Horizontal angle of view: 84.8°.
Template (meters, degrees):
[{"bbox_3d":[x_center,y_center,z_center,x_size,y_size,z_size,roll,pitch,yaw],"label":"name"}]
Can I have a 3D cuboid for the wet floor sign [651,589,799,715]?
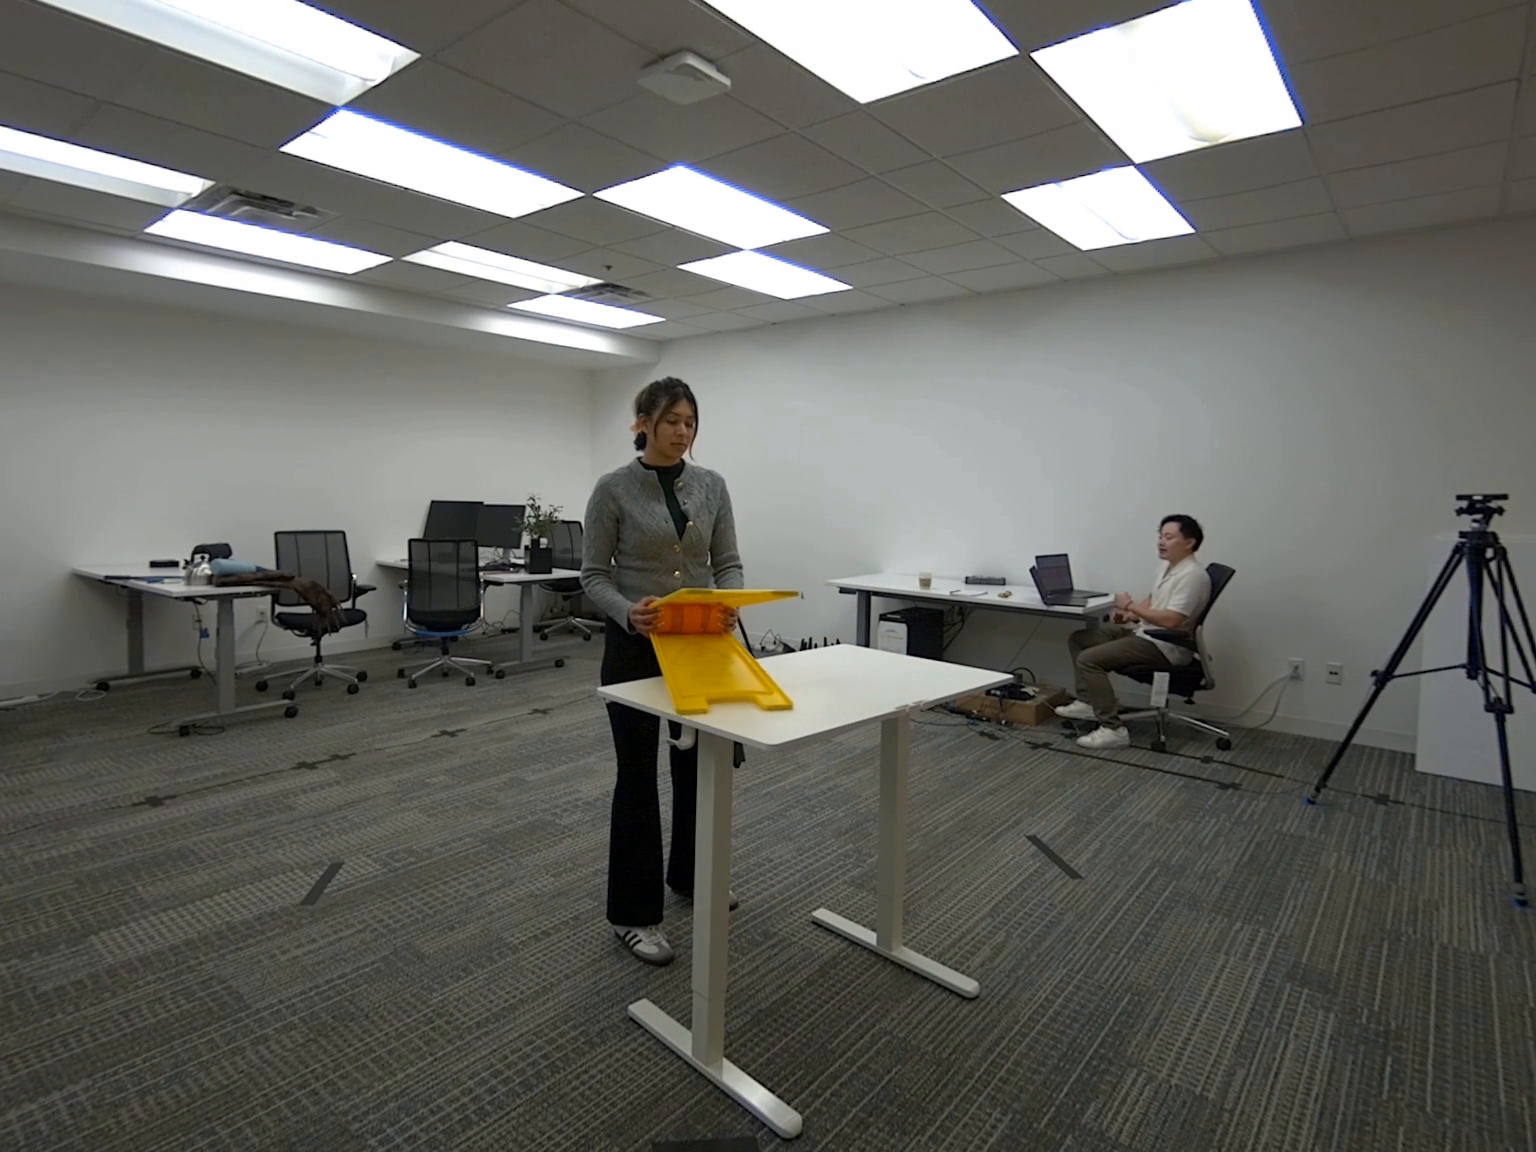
[{"bbox_3d":[-0.171,0.134,2.223,0.276,0.289,0.662,1,5,-21],"label":"wet floor sign"}]
